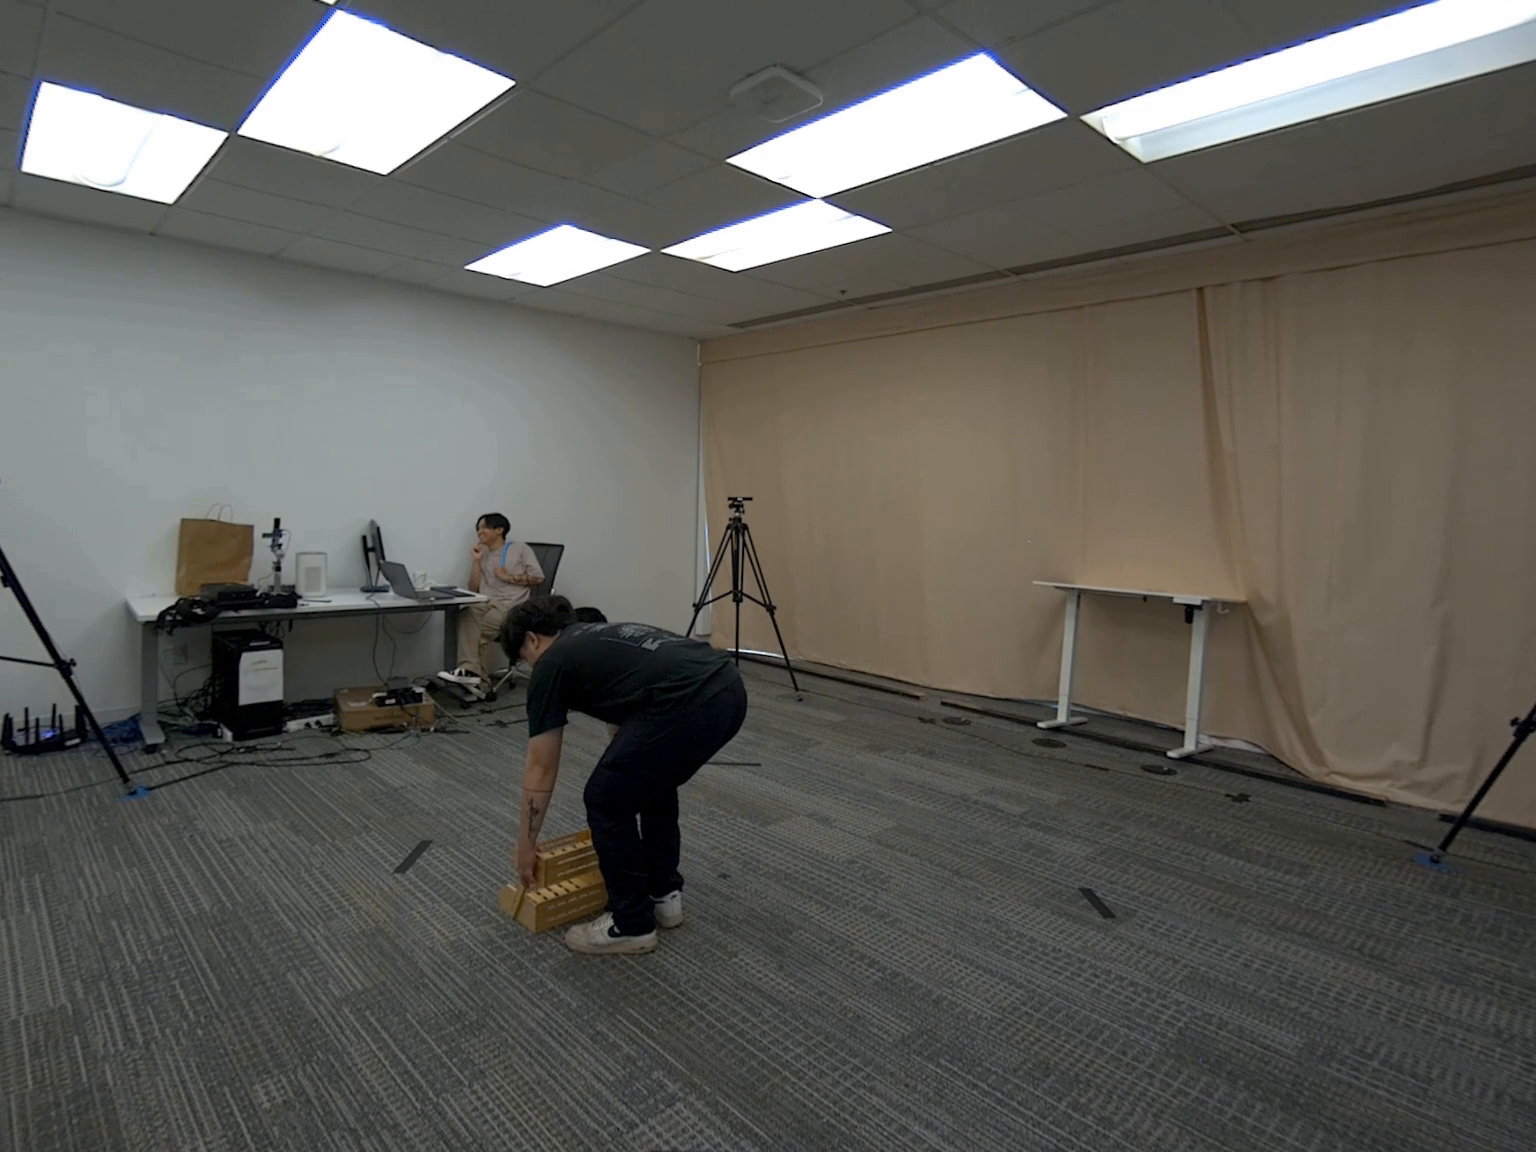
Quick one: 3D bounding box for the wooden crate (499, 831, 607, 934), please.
[{"bbox_3d":[-0.701,0.984,2.831,0.317,0.272,0.310,-3,7,-45],"label":"wooden crate"}]
